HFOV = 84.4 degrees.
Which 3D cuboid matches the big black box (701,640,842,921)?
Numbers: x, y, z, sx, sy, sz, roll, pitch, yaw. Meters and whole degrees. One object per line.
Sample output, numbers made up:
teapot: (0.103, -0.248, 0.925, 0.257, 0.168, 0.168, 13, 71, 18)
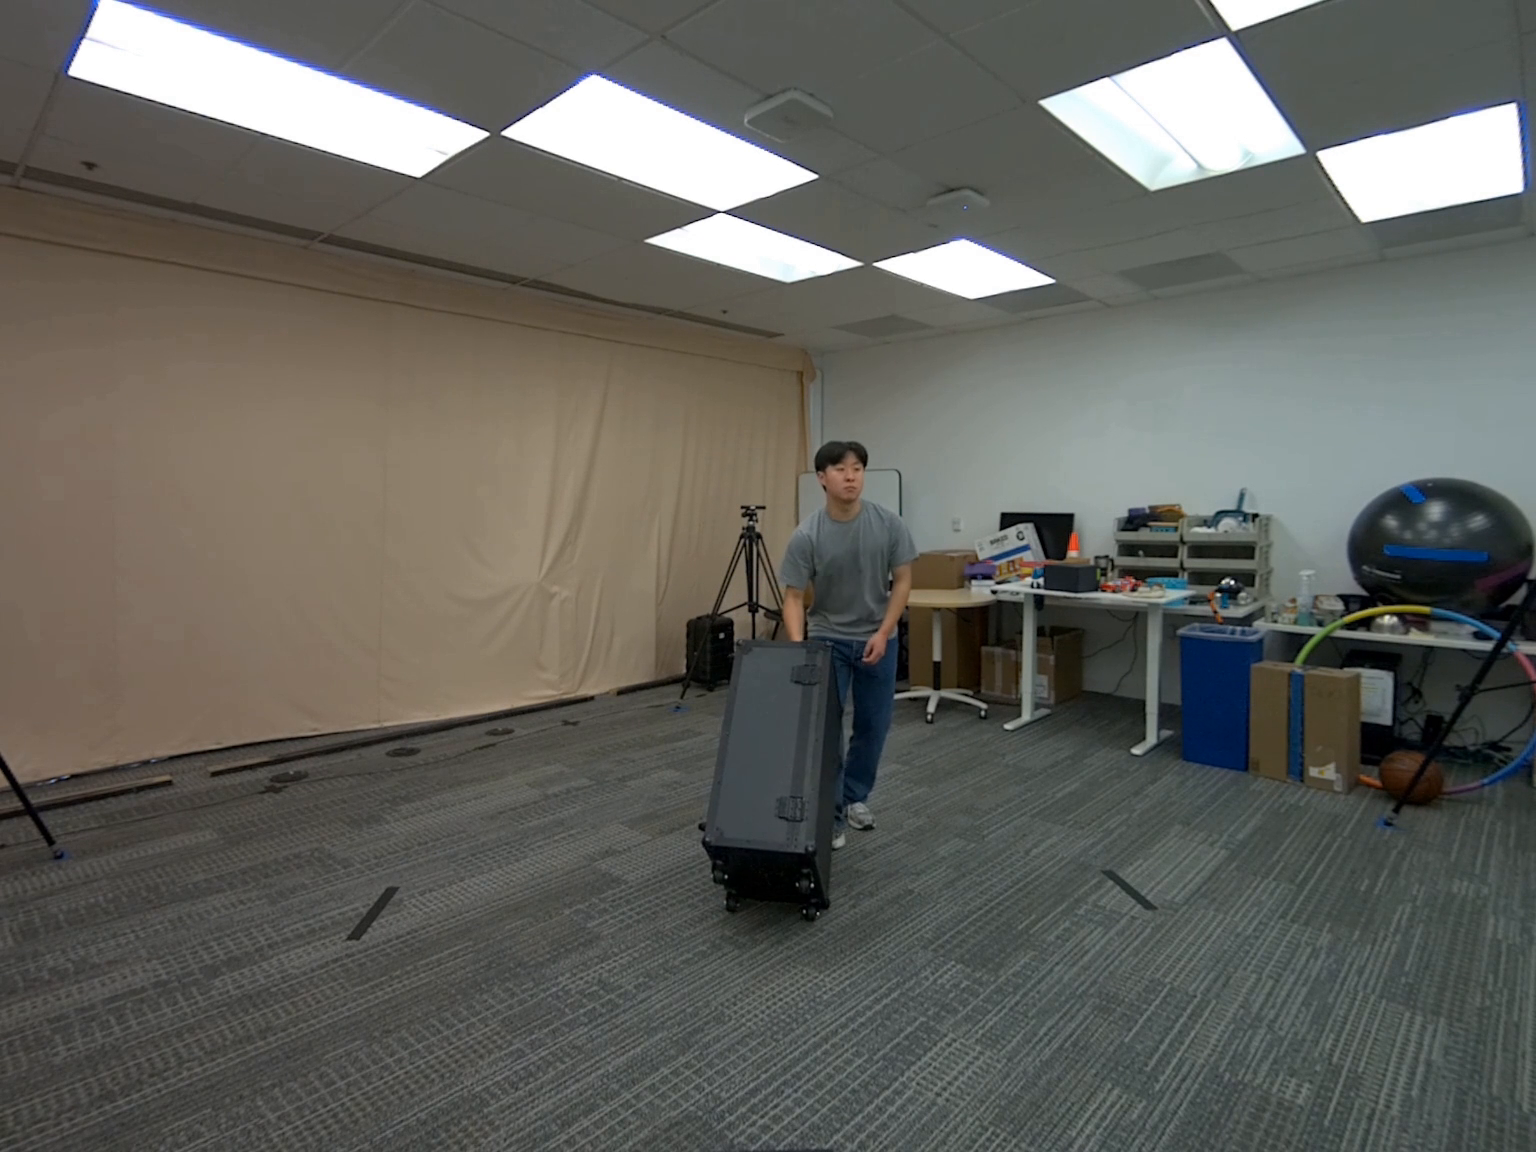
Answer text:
big black box: (0.040, 0.674, 3.046, 0.402, 0.872, 0.508, 0, -38, 12)
